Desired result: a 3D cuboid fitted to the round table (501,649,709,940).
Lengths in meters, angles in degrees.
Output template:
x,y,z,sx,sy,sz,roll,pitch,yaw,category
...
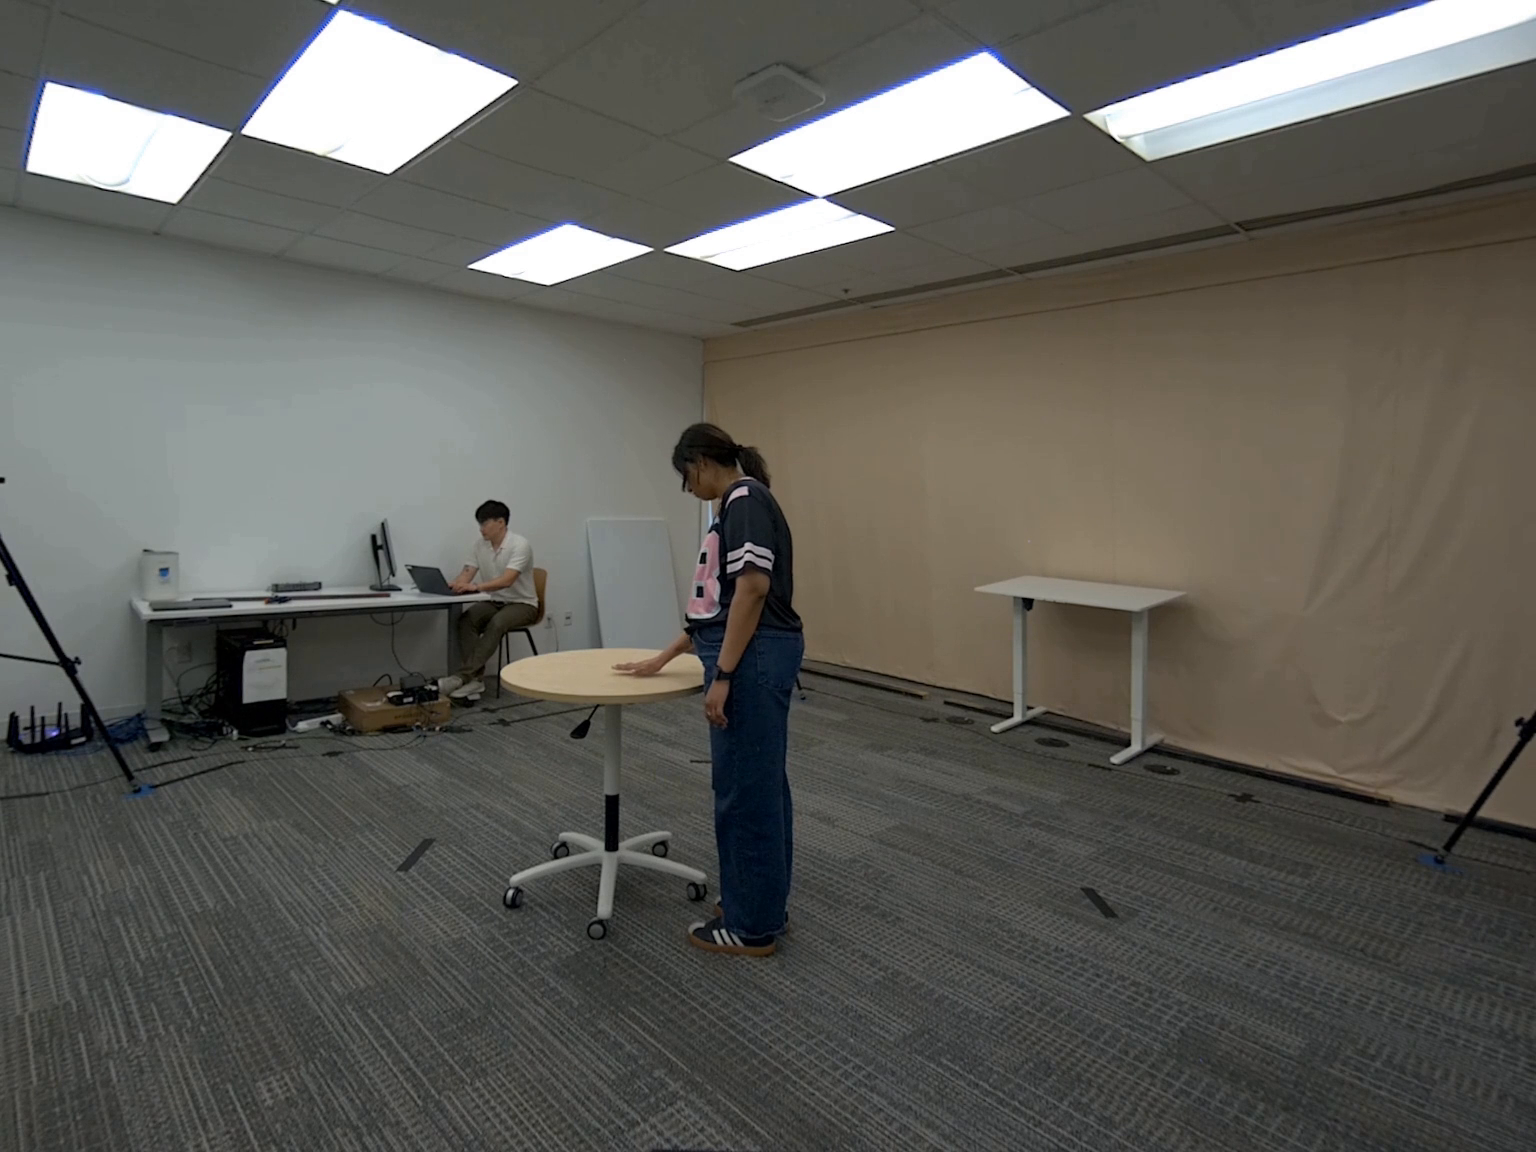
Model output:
x,y,z,sx,sy,sz,roll,pitch,yaw,category
-0.562,0.718,2.949,0.784,0.784,0.788,1,4,-1,round table
